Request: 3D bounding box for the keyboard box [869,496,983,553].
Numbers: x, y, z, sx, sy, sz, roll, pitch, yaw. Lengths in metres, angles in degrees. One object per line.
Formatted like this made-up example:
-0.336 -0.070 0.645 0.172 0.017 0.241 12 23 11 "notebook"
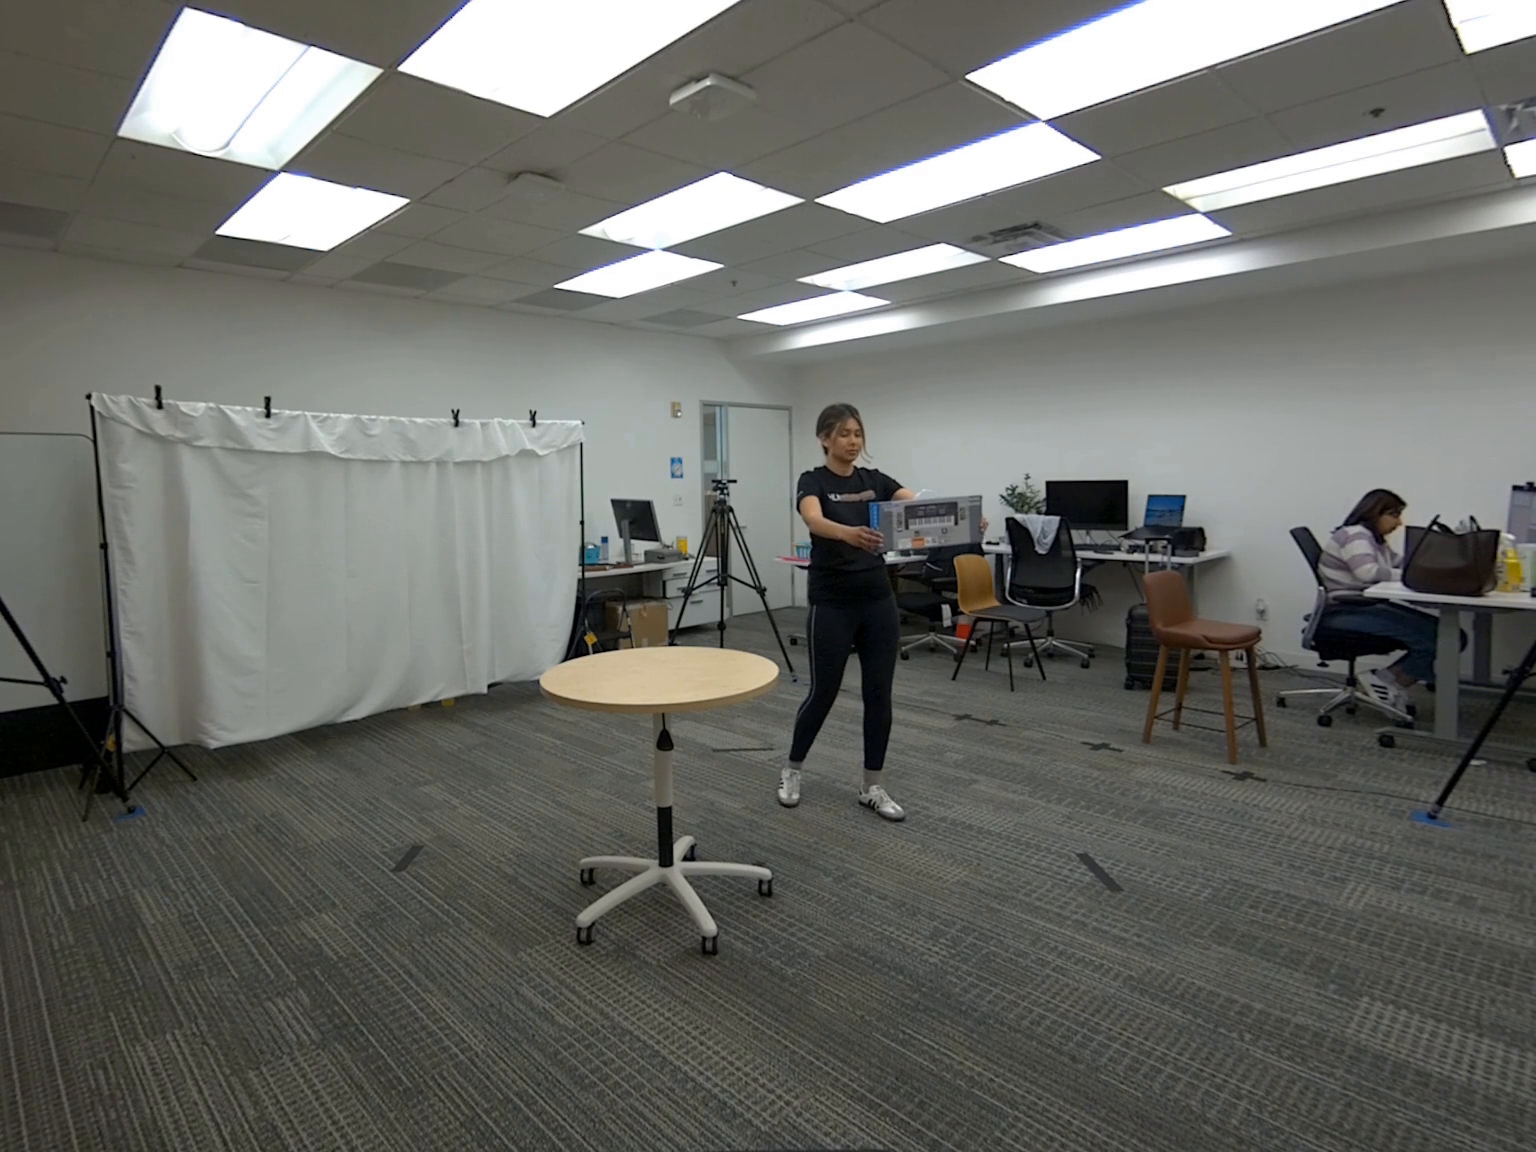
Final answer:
0.568 -0.186 3.033 0.429 0.175 0.060 -6 6 -22 "keyboard box"
